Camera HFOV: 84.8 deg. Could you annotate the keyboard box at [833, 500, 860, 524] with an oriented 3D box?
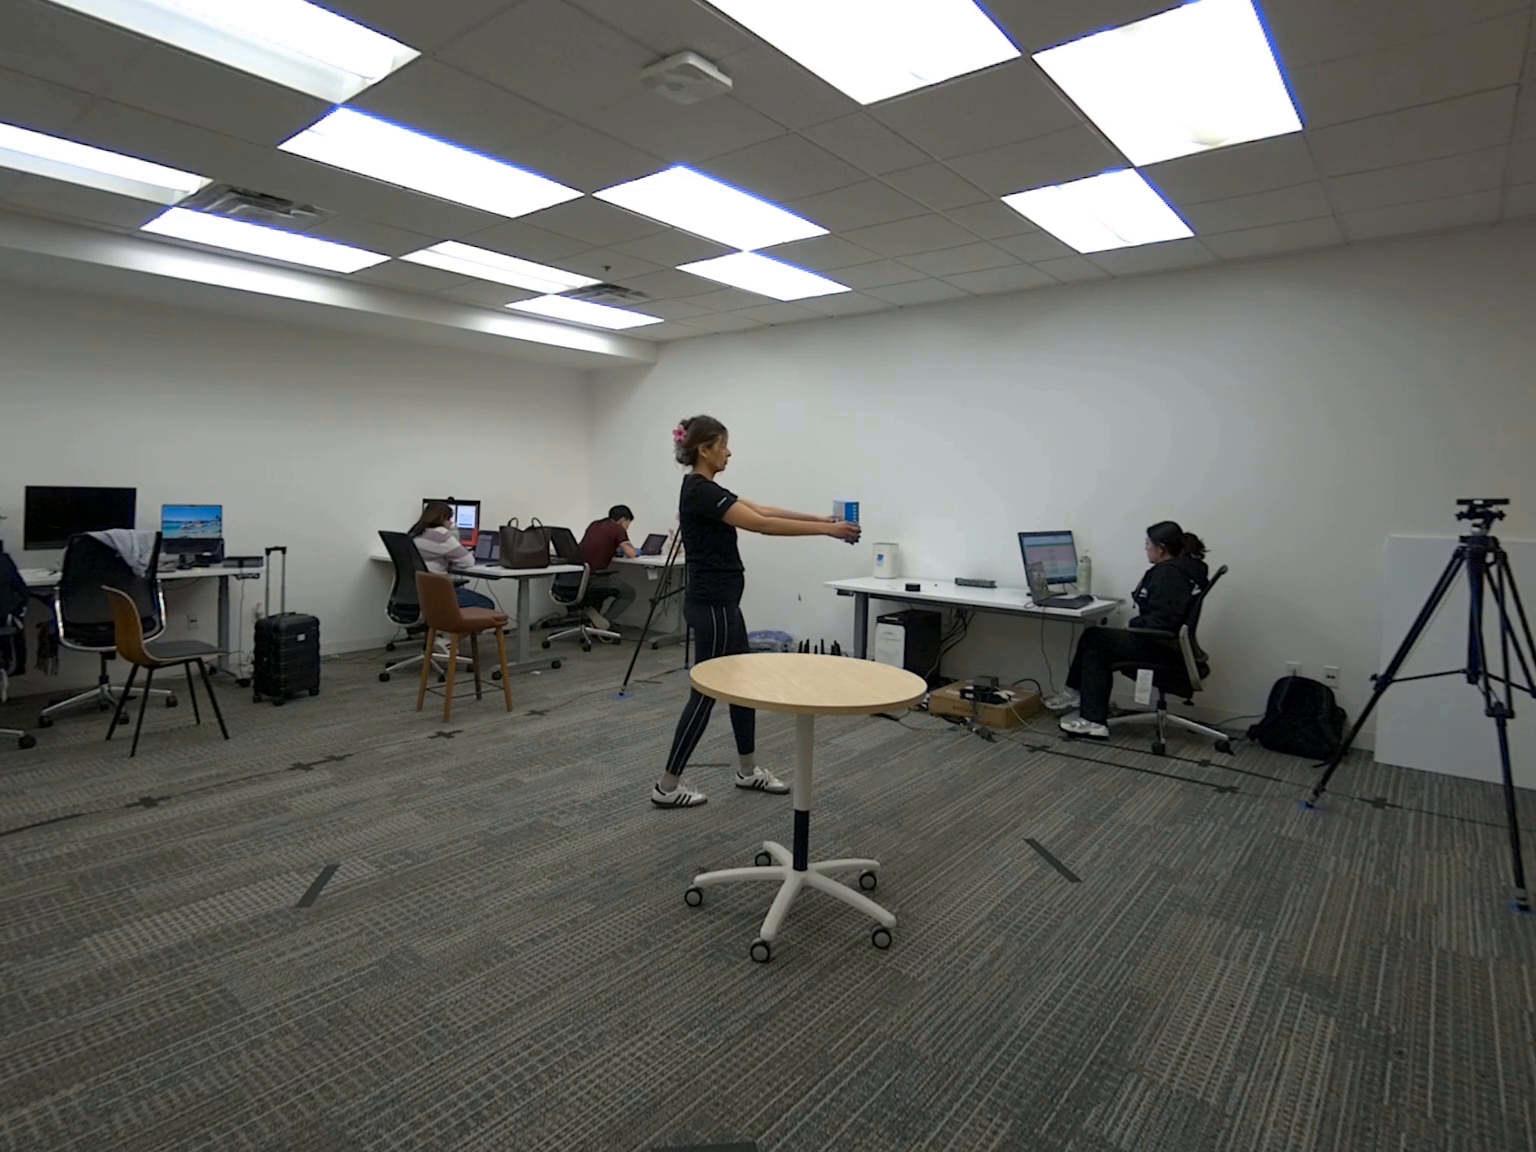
[{"bbox_3d":[0.332,-0.250,3.760,0.059,0.175,0.439,-1,6,-2],"label":"keyboard box"}]
